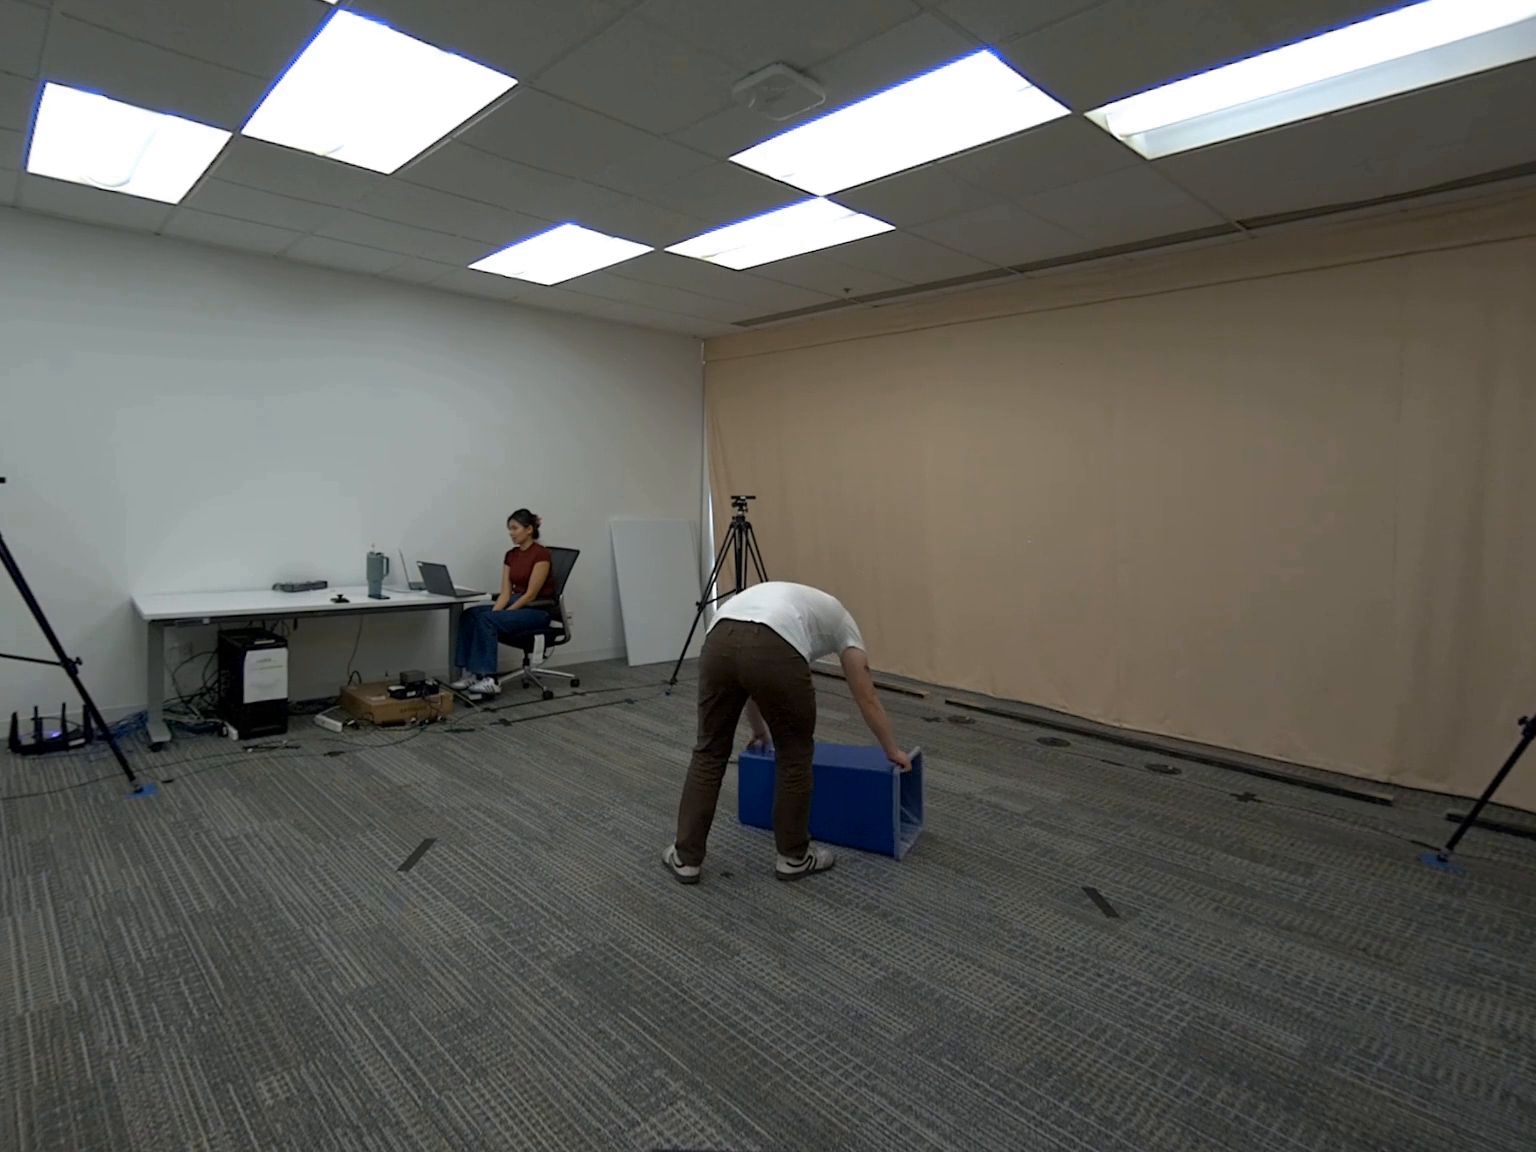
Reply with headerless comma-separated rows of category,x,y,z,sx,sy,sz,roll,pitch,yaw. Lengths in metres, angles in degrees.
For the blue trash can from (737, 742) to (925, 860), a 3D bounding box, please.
blue trash can,0.252,0.900,3.560,0.728,0.377,0.368,2,5,27
